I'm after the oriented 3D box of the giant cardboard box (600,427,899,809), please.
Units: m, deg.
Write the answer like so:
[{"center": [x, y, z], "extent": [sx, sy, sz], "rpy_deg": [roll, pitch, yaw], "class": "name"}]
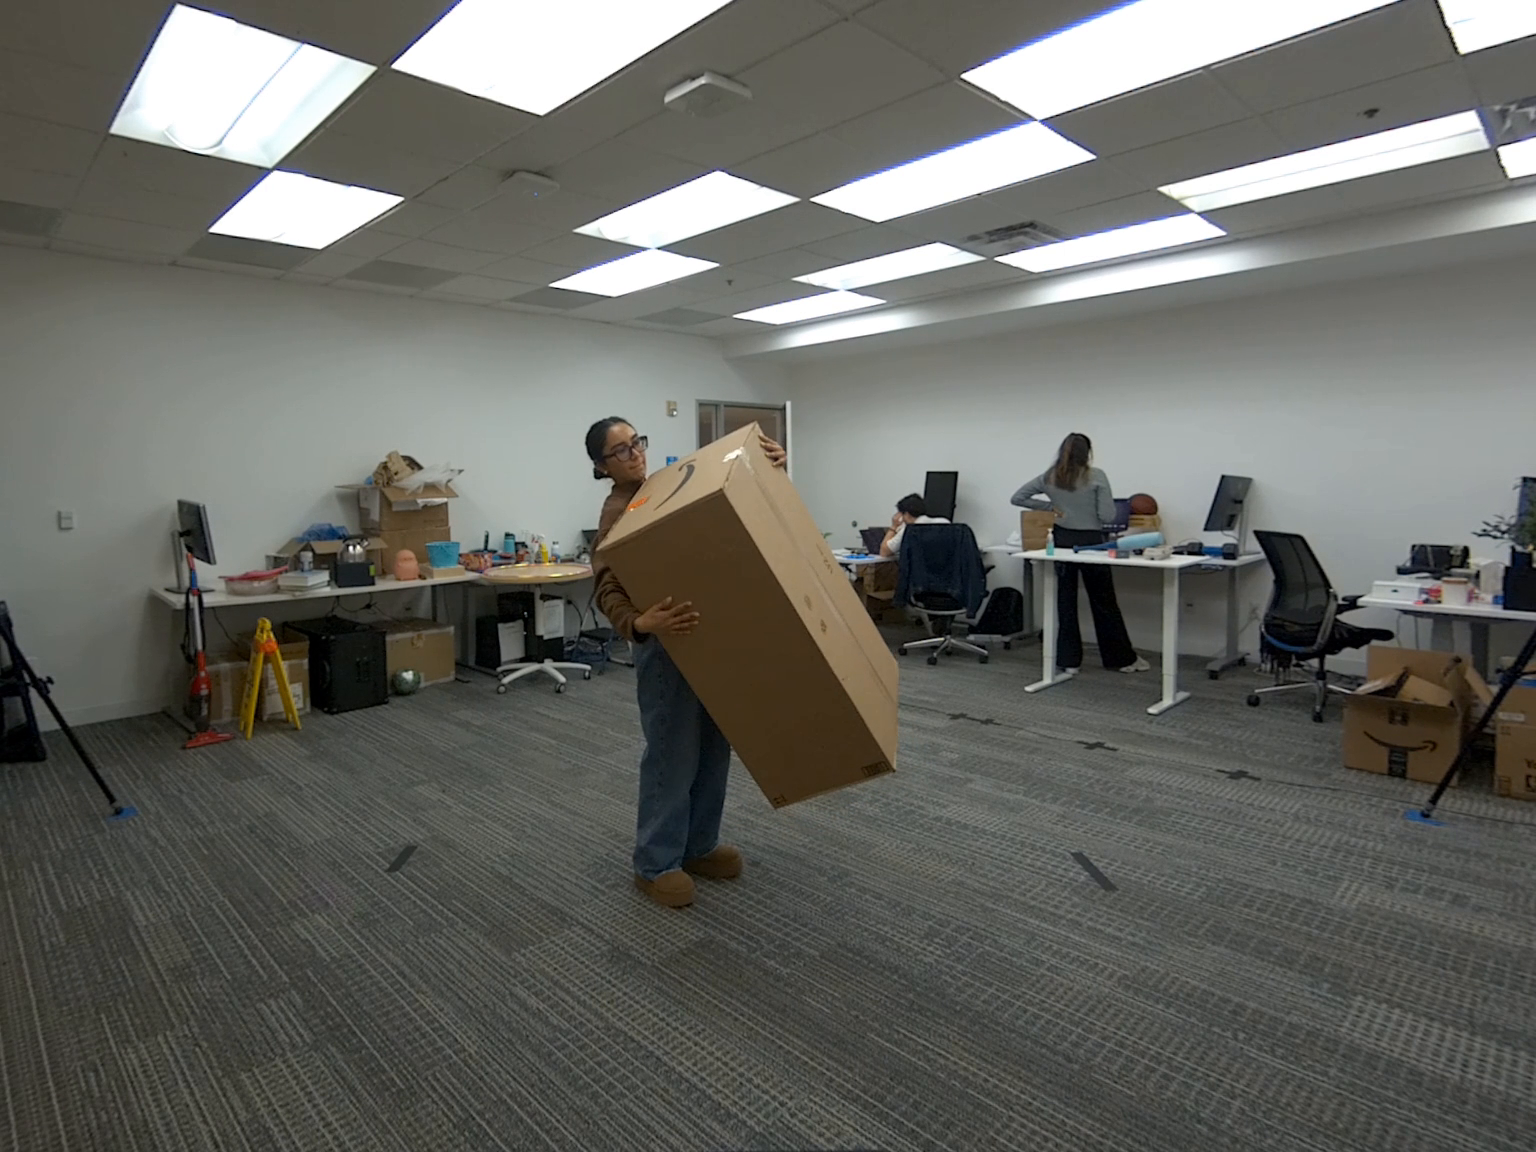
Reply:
[{"center": [-0.007, 0.121, 2.715], "extent": [0.430, 1.004, 0.584], "rpy_deg": [-25, 19, 21], "class": "giant cardboard box"}]
